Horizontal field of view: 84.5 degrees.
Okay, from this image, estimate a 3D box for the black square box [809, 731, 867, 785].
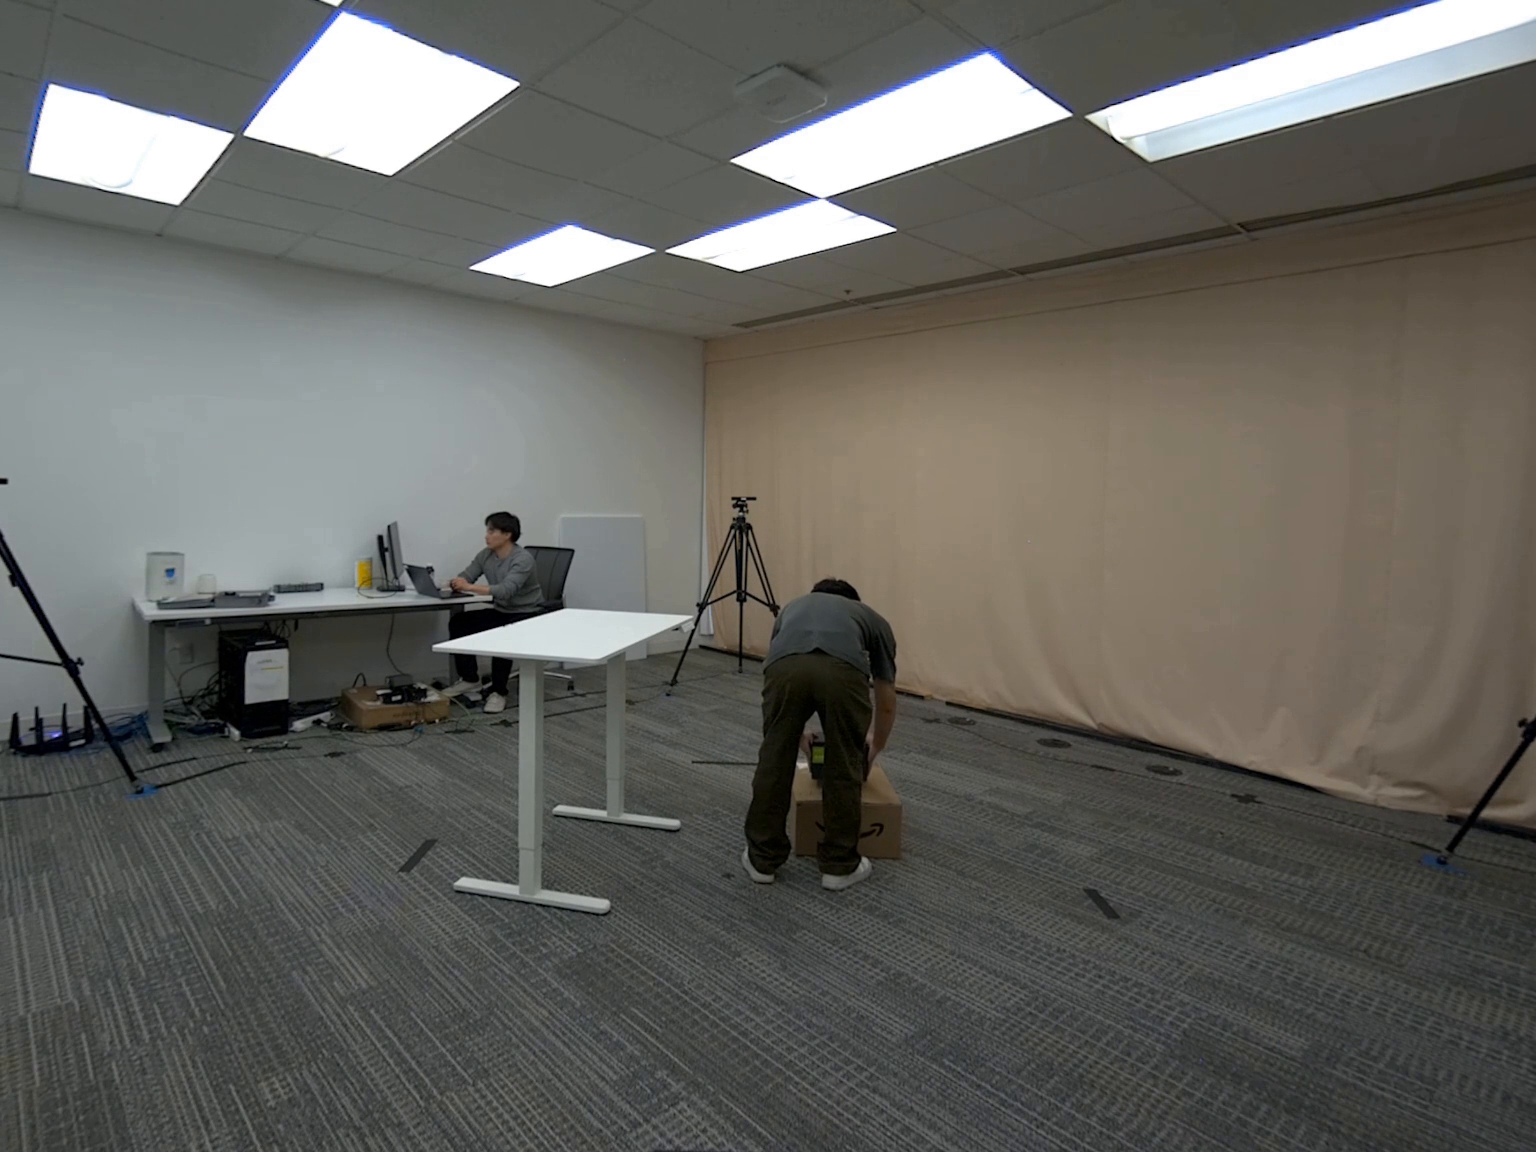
[{"bbox_3d":[0.289,0.755,3.535,0.229,0.156,0.216,2,0,5],"label":"black square box"}]
